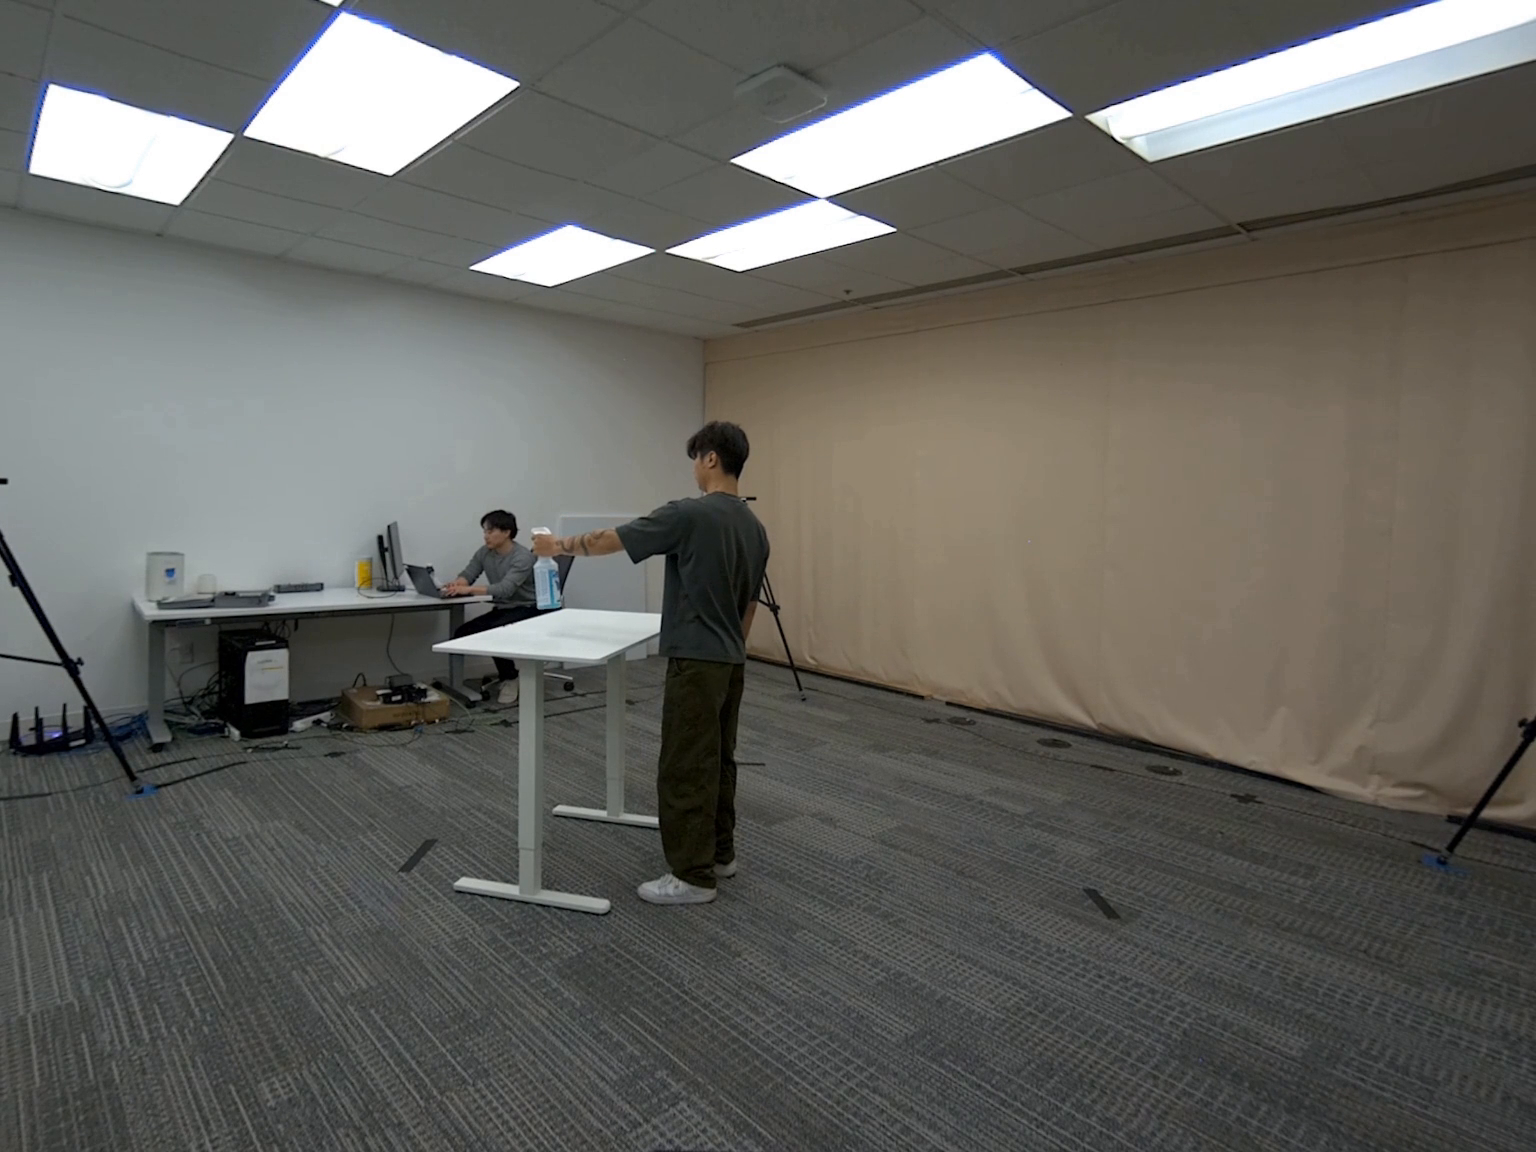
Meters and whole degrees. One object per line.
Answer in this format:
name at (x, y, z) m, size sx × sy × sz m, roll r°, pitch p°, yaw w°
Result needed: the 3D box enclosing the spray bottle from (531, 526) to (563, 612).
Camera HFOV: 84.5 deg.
spray bottle at (-0.813, -0.027, 3.070) m, size 0.085 × 0.298 × 0.091 m, roll -5°, pitch -3°, yaw -33°
